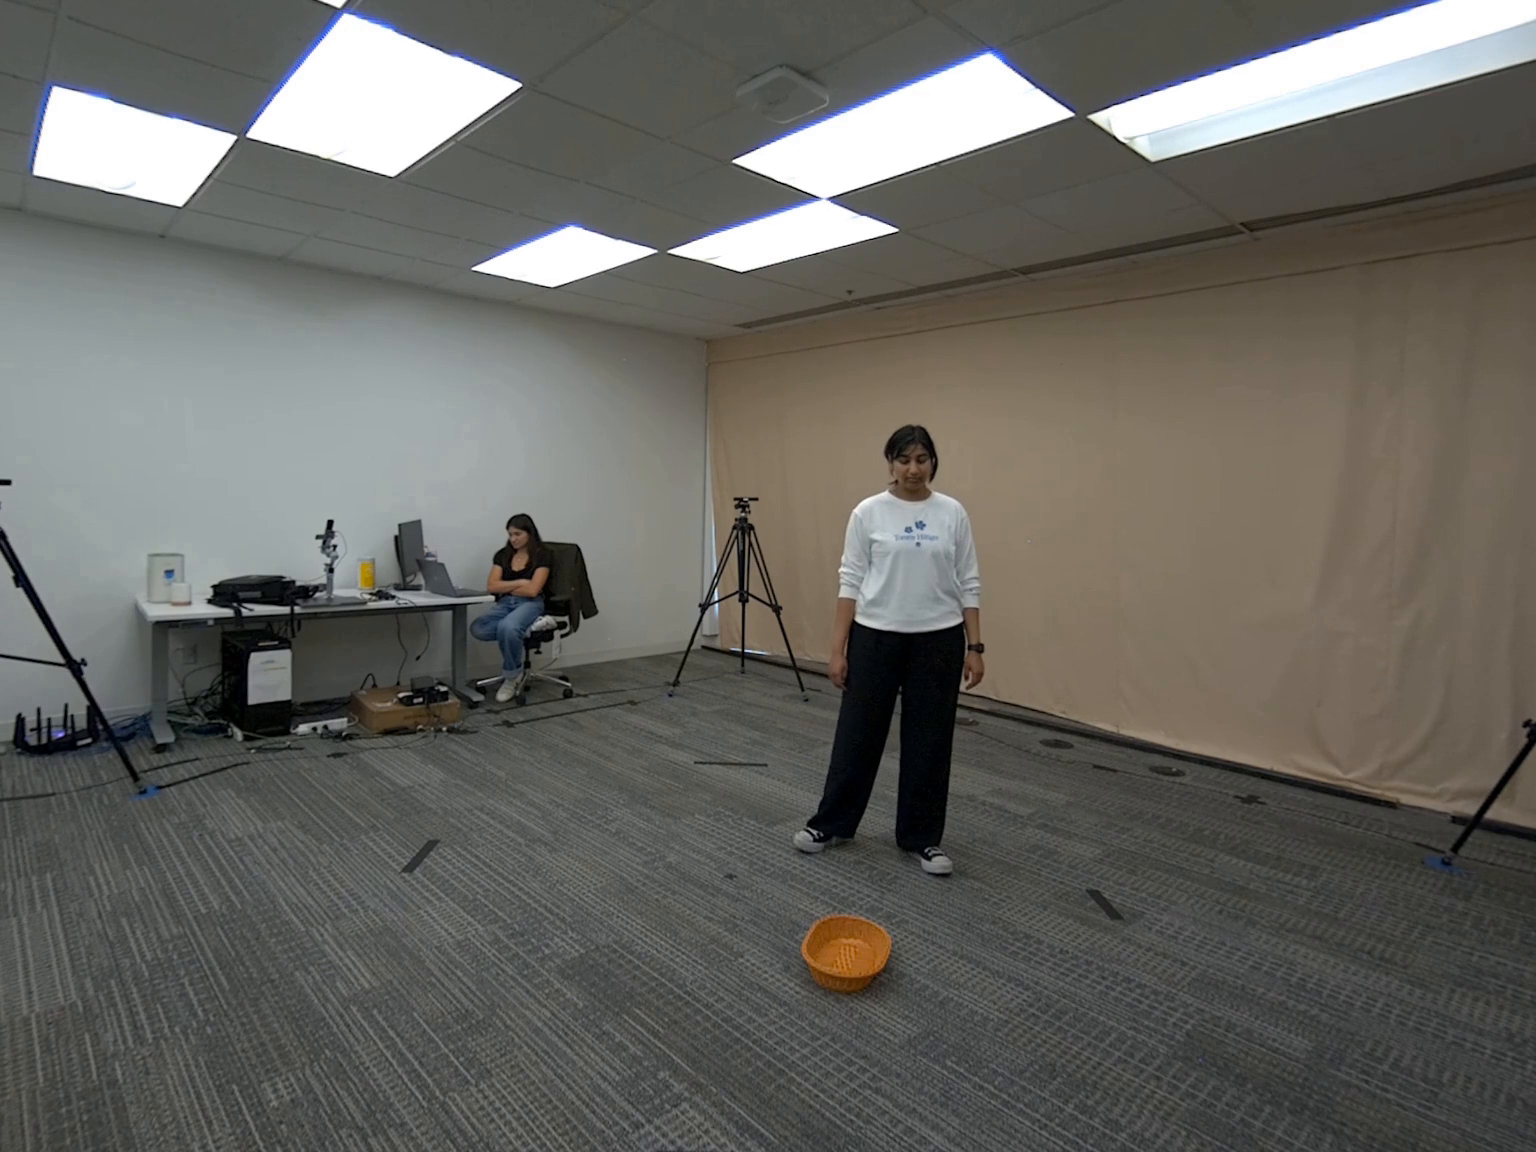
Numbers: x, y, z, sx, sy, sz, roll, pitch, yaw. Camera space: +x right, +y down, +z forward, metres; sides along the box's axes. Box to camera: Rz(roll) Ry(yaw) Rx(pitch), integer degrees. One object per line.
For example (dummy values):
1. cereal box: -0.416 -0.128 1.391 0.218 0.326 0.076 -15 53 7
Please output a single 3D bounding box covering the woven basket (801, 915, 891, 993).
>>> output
1. woven basket: 0.230 1.134 2.518 0.257 0.073 0.345 5 6 21
